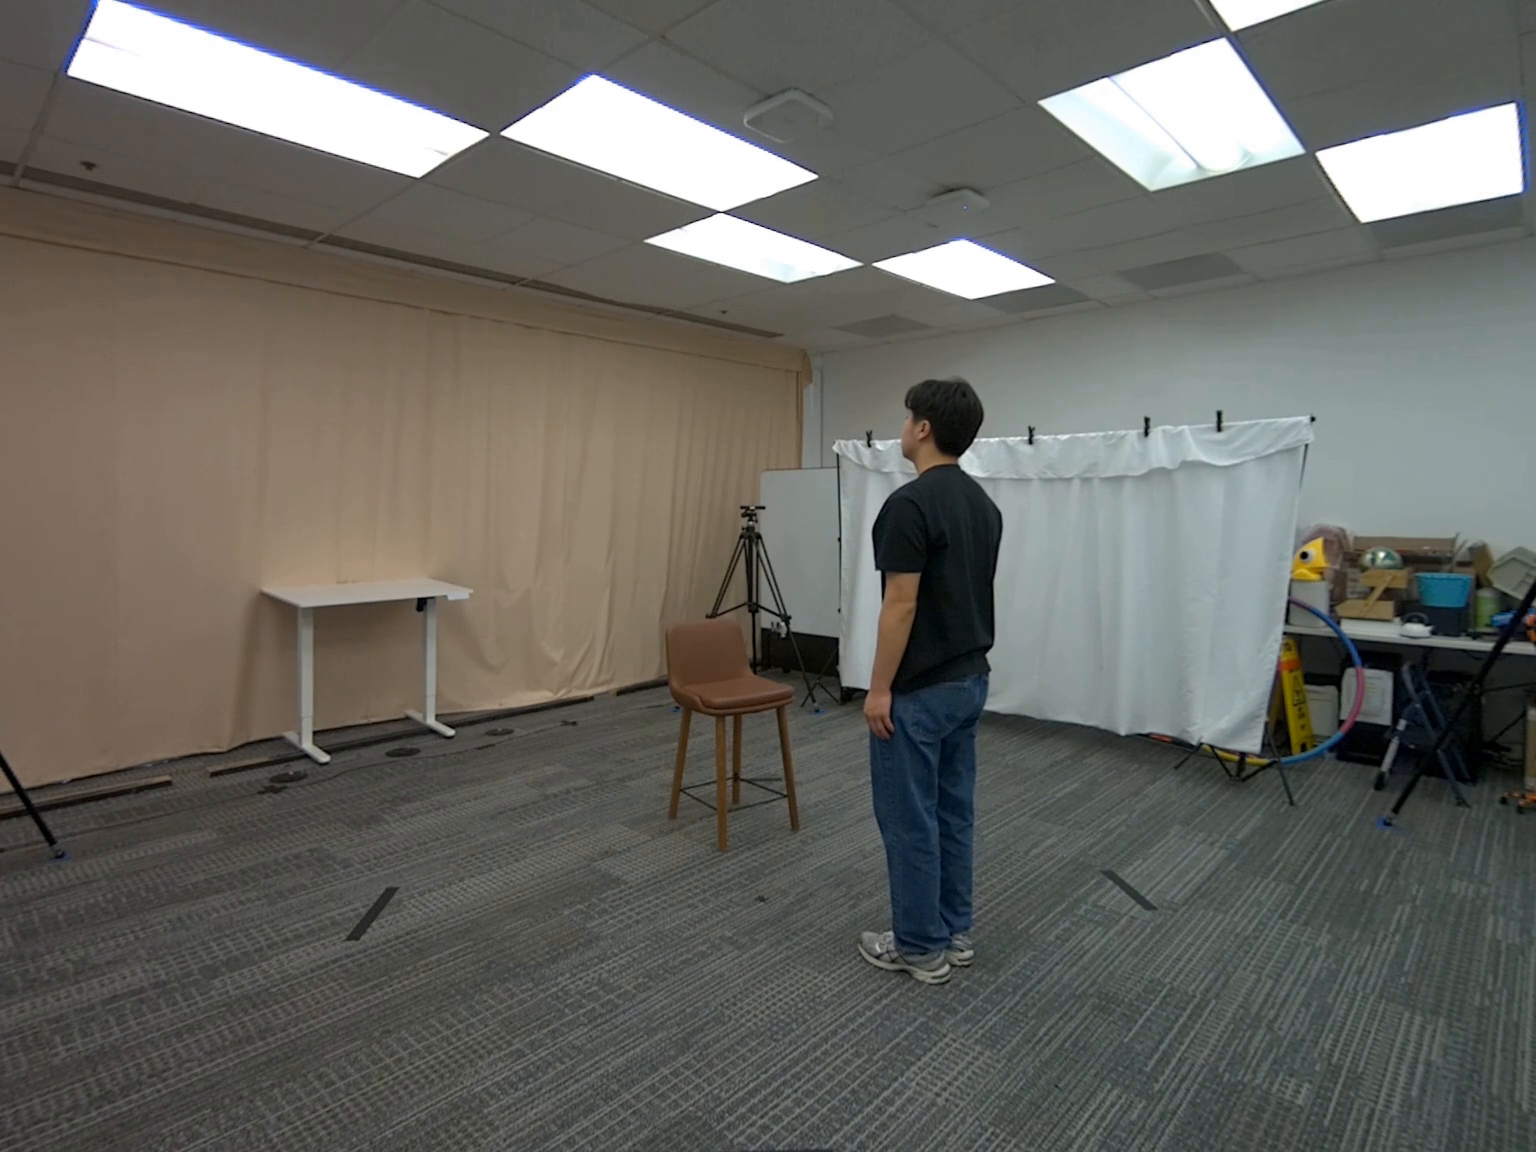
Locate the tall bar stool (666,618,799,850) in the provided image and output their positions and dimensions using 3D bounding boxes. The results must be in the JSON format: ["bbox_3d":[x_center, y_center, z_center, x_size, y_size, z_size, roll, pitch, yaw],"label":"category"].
[{"bbox_3d":[-0.168,0.651,3.666,0.443,0.889,0.482,-2,2,-36],"label":"tall bar stool"}]
